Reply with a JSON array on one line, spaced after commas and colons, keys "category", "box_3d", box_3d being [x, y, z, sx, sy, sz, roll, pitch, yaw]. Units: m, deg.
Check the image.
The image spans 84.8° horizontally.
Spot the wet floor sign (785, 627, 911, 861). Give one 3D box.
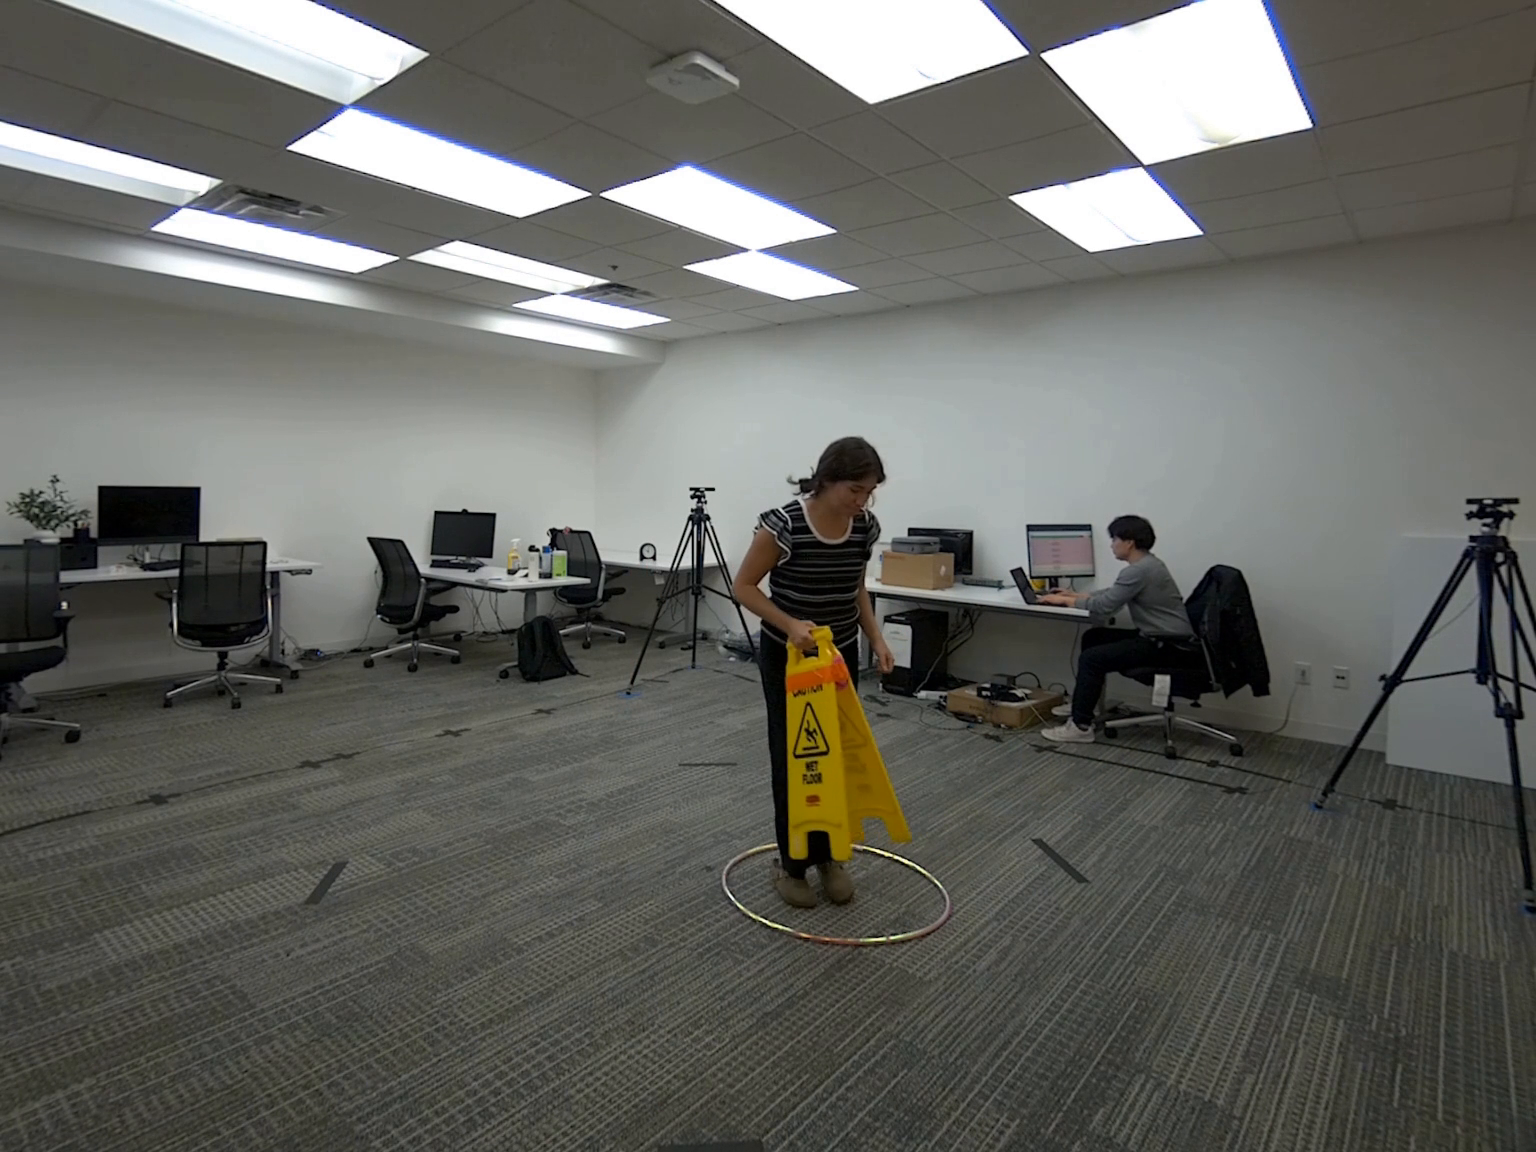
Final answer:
[{"category": "wet floor sign", "box_3d": [0.191, 0.494, 2.557, 0.281, 0.656, 0.286, -2, -15, -34]}]
